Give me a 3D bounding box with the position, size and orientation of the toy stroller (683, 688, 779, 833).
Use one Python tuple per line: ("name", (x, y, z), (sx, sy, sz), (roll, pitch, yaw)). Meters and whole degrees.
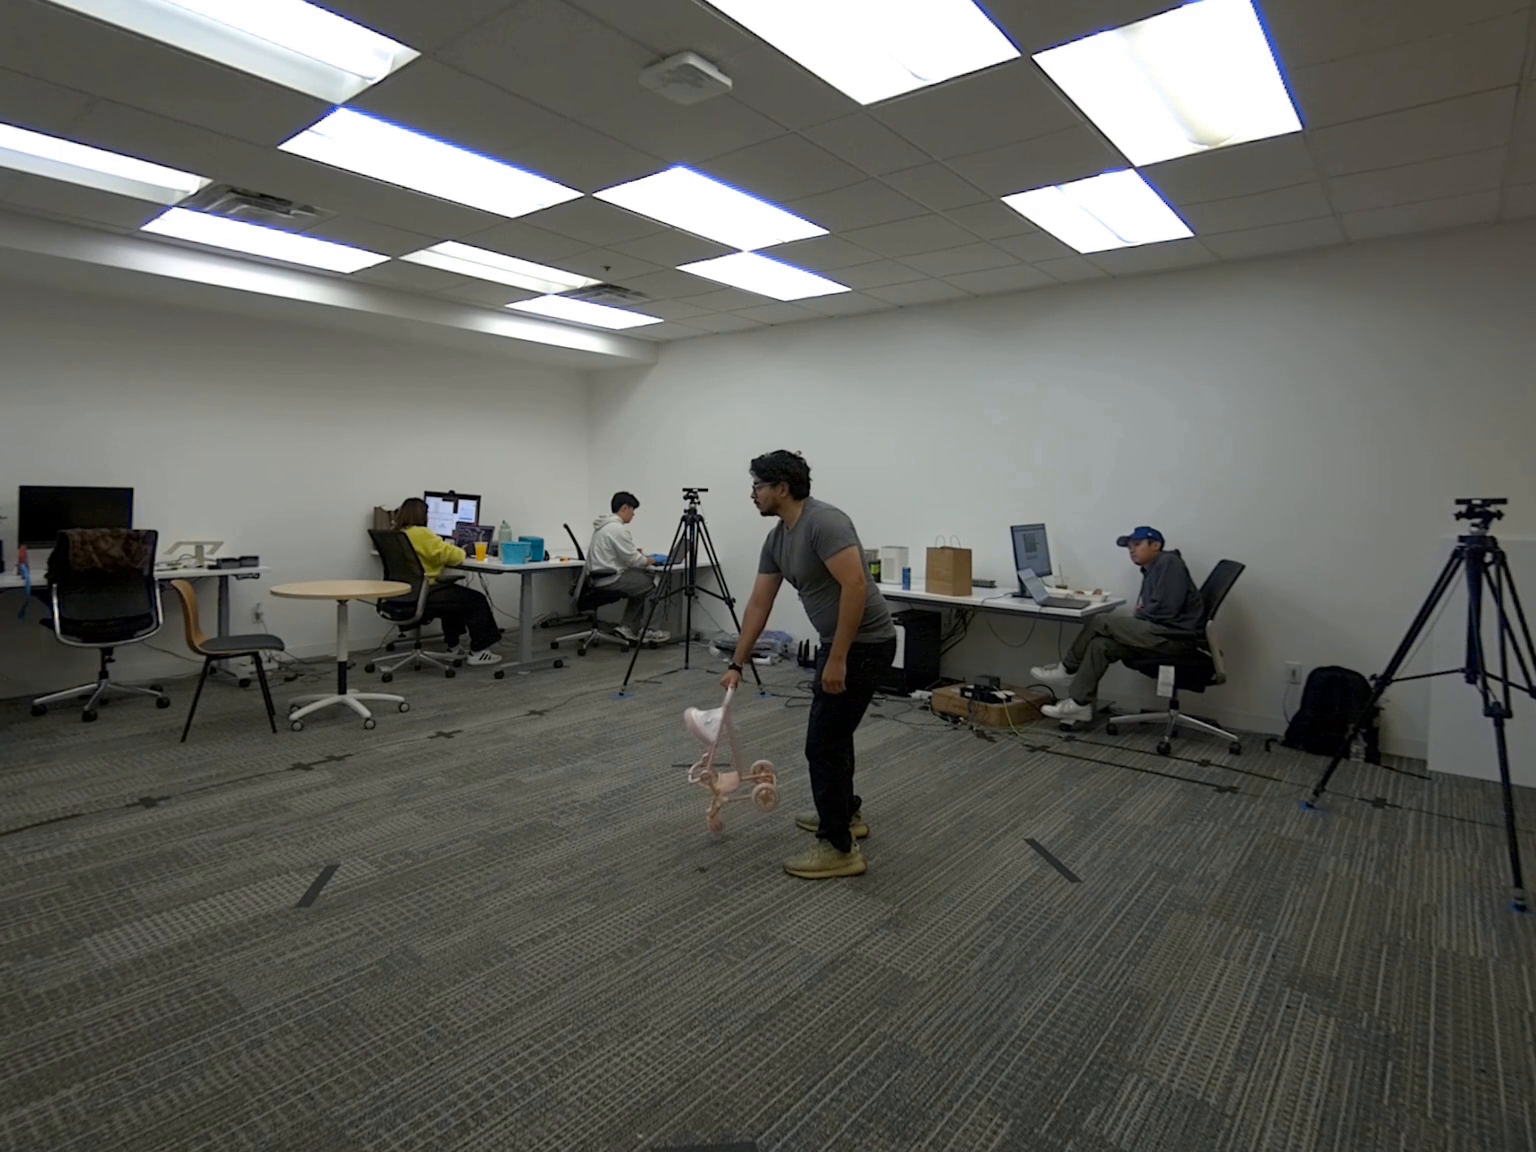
("toy stroller", (-0.197, 0.722, 3.350), (0.343, 0.531, 0.282), (-23, 5, 7))
